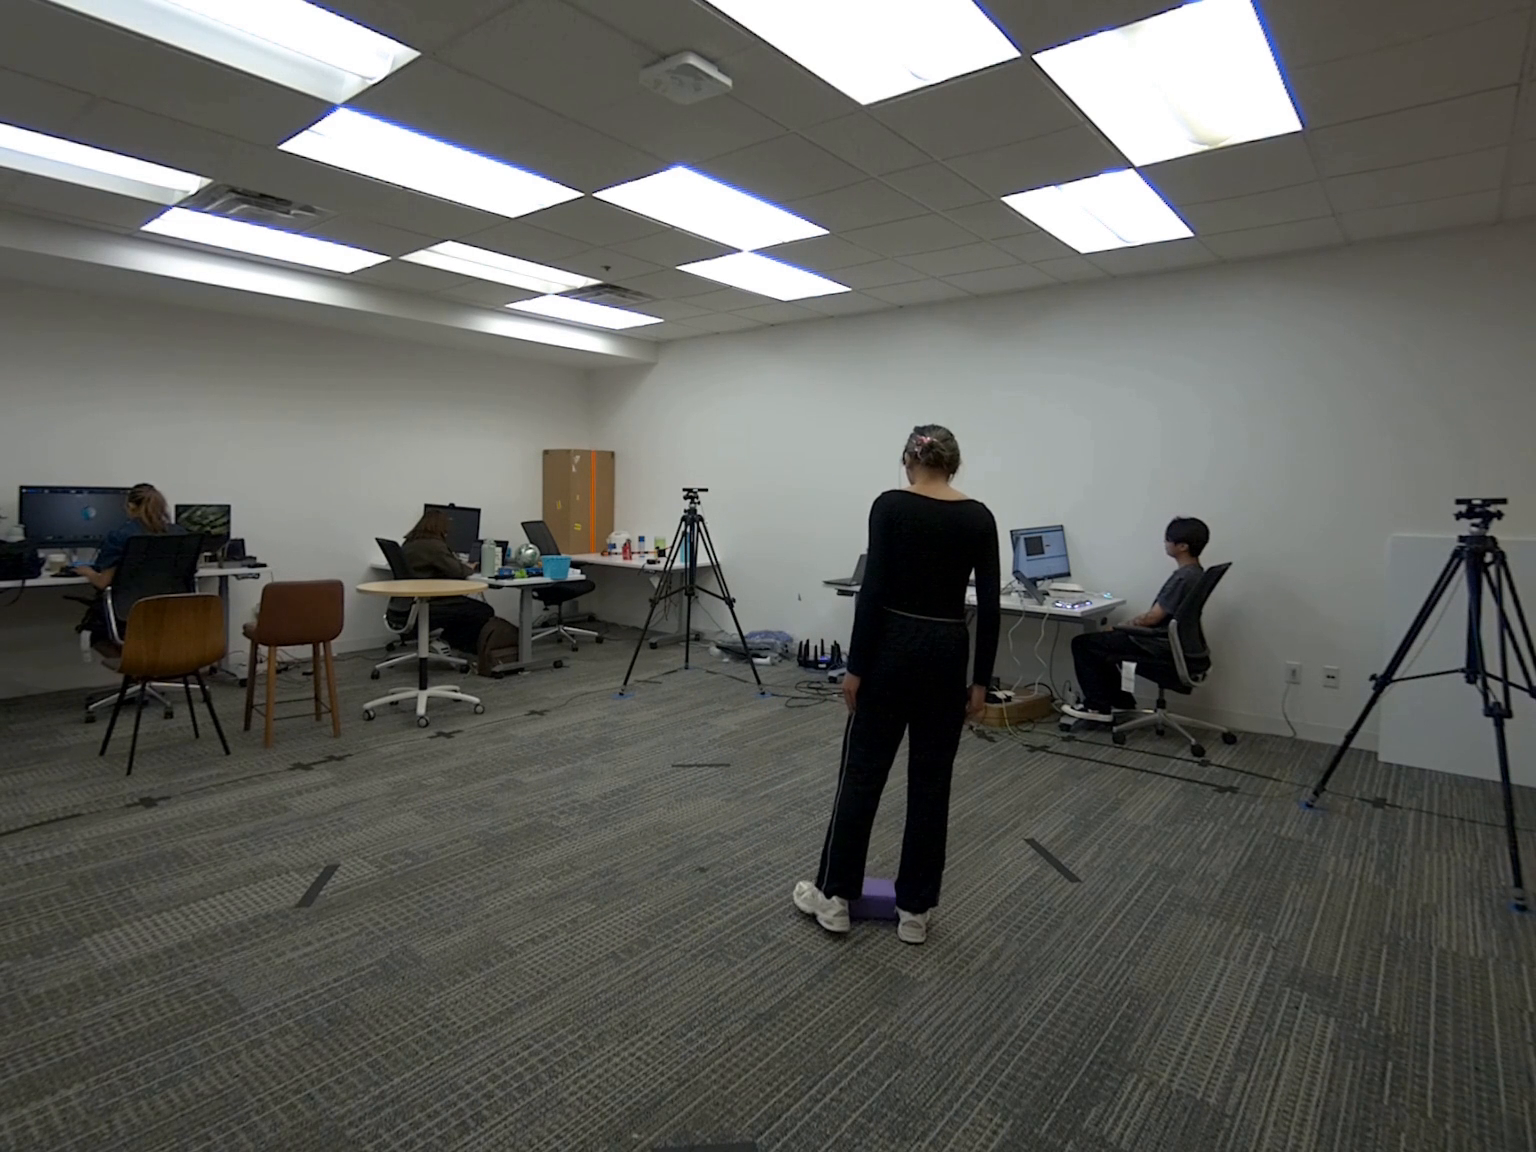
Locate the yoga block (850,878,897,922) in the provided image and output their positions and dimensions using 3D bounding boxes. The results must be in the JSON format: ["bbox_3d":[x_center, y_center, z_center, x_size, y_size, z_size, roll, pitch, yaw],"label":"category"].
[{"bbox_3d":[0.305,1.062,2.834,0.230,0.076,0.149,1,5,2],"label":"yoga block"}]
